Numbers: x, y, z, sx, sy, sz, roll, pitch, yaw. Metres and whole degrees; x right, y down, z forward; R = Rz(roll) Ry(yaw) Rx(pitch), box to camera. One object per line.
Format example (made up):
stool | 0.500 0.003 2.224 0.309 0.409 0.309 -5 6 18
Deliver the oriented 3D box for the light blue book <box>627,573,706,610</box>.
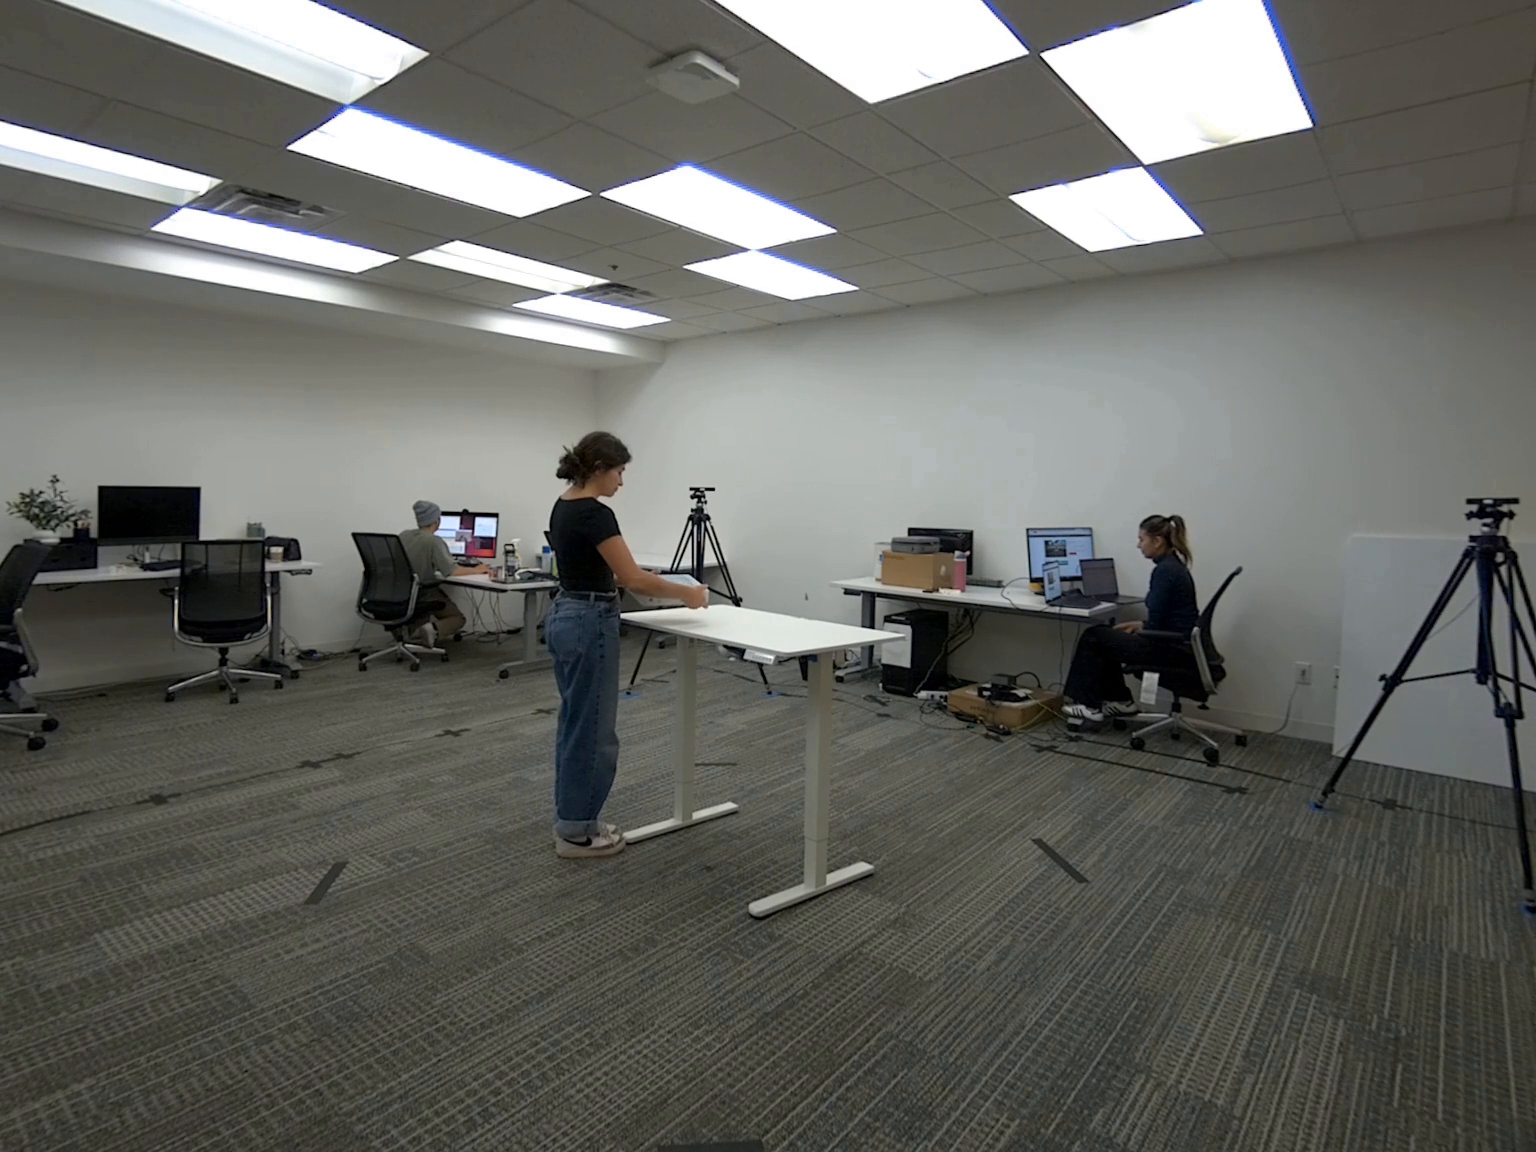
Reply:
light blue book | -0.390 0.050 3.229 0.254 0.058 0.199 -2 20 -29
